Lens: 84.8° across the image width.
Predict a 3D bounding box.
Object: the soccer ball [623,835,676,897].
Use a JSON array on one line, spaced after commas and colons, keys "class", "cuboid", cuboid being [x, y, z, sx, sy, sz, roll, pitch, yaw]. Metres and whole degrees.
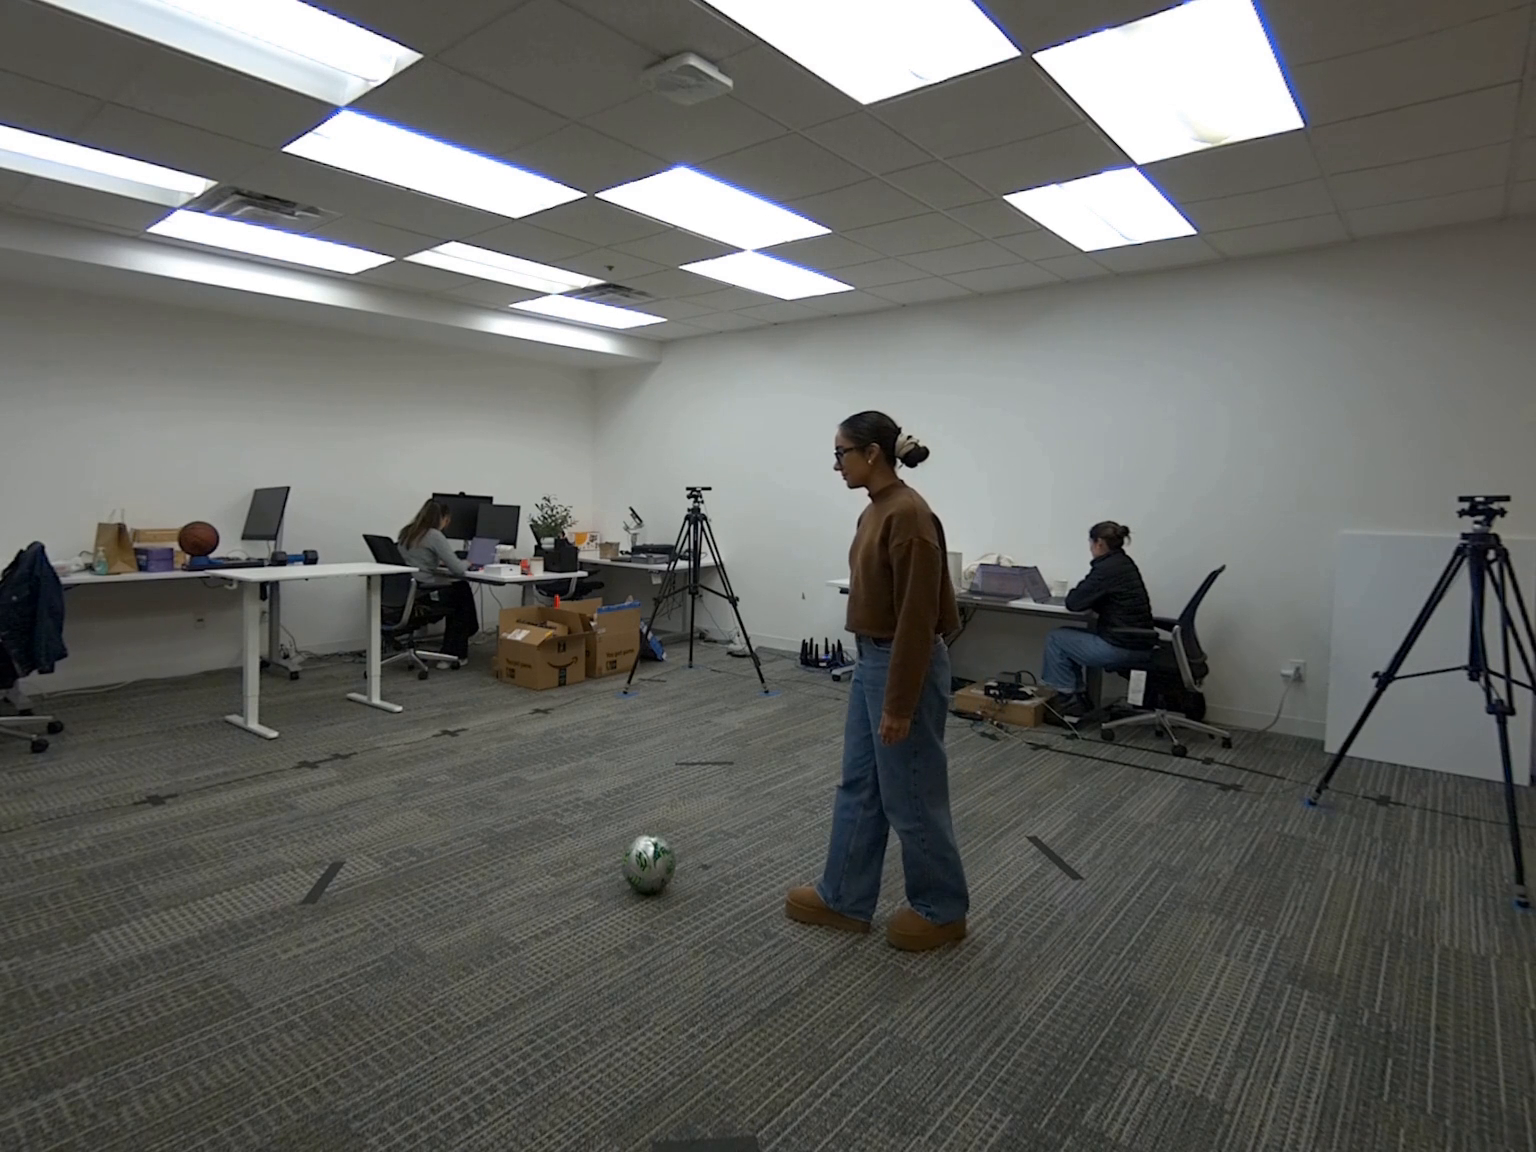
[{"class": "soccer ball", "cuboid": [-0.420, 0.981, 2.922, 0.187, 0.187, 0.188, 1, 4, -2]}]
